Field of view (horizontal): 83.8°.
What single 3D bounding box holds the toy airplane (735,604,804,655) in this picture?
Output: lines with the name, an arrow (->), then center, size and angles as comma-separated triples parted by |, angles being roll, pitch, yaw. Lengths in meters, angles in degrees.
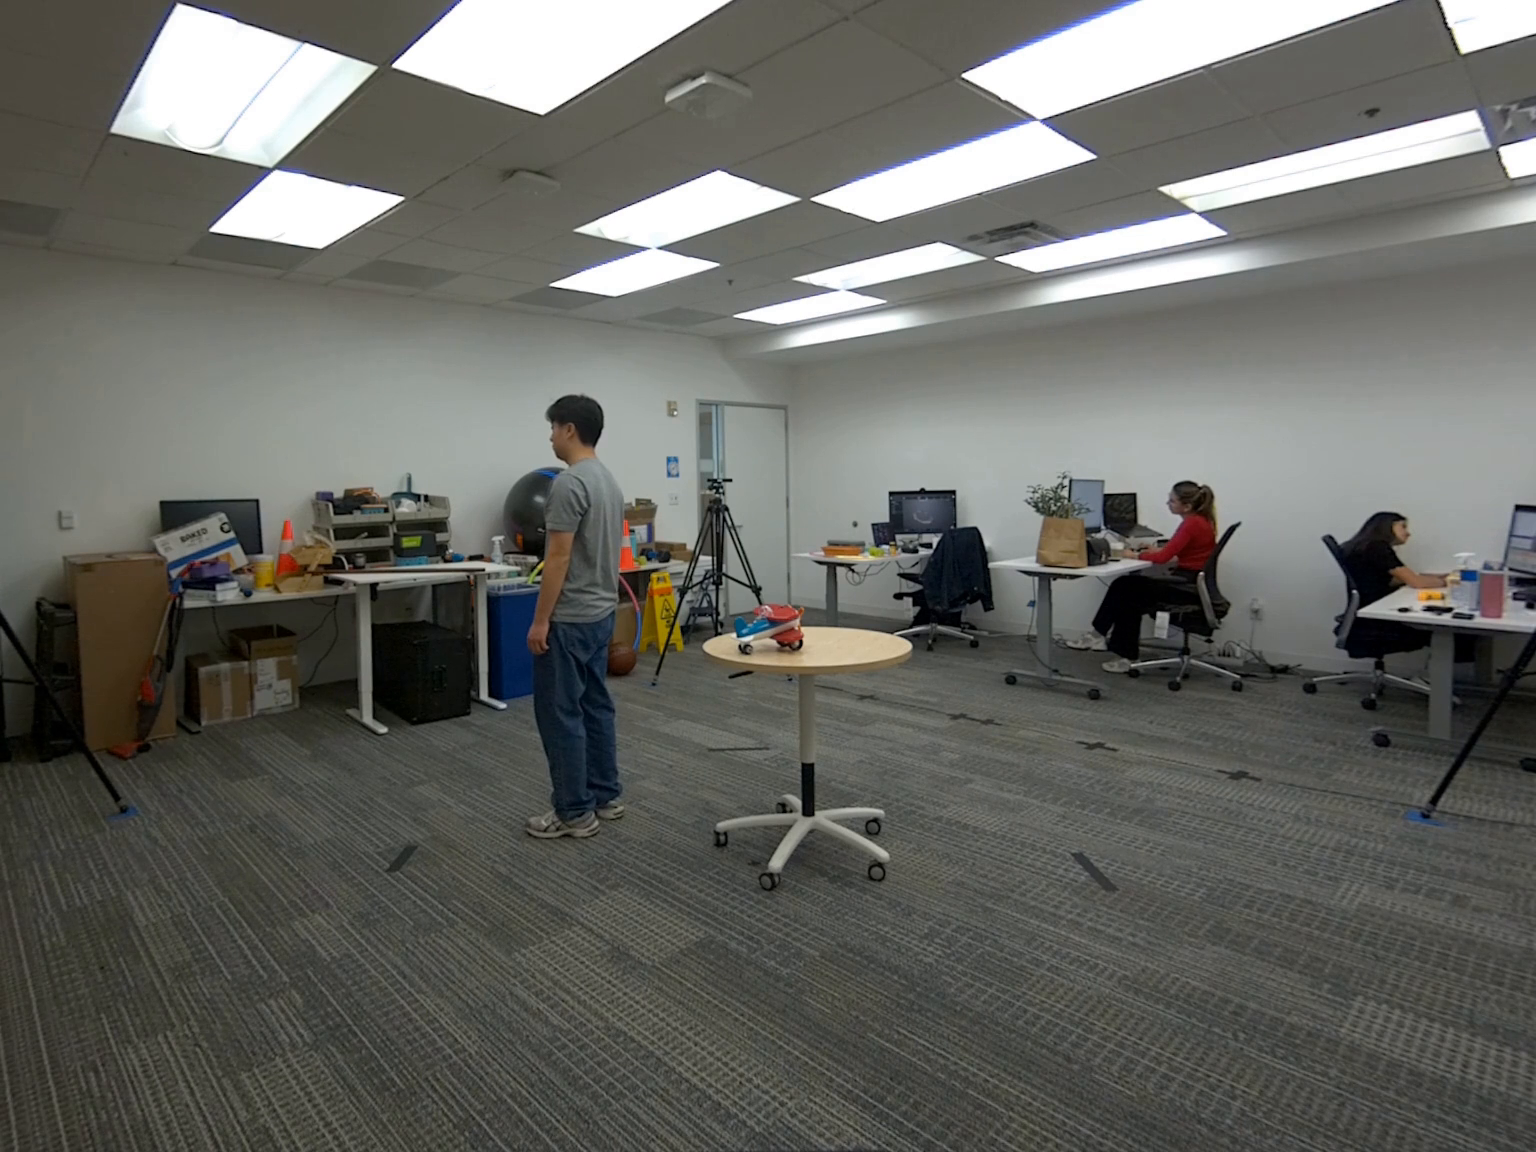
toy airplane -> 0.017, 0.192, 3.030 | 0.258, 0.156, 0.253 | 2, 6, 36
